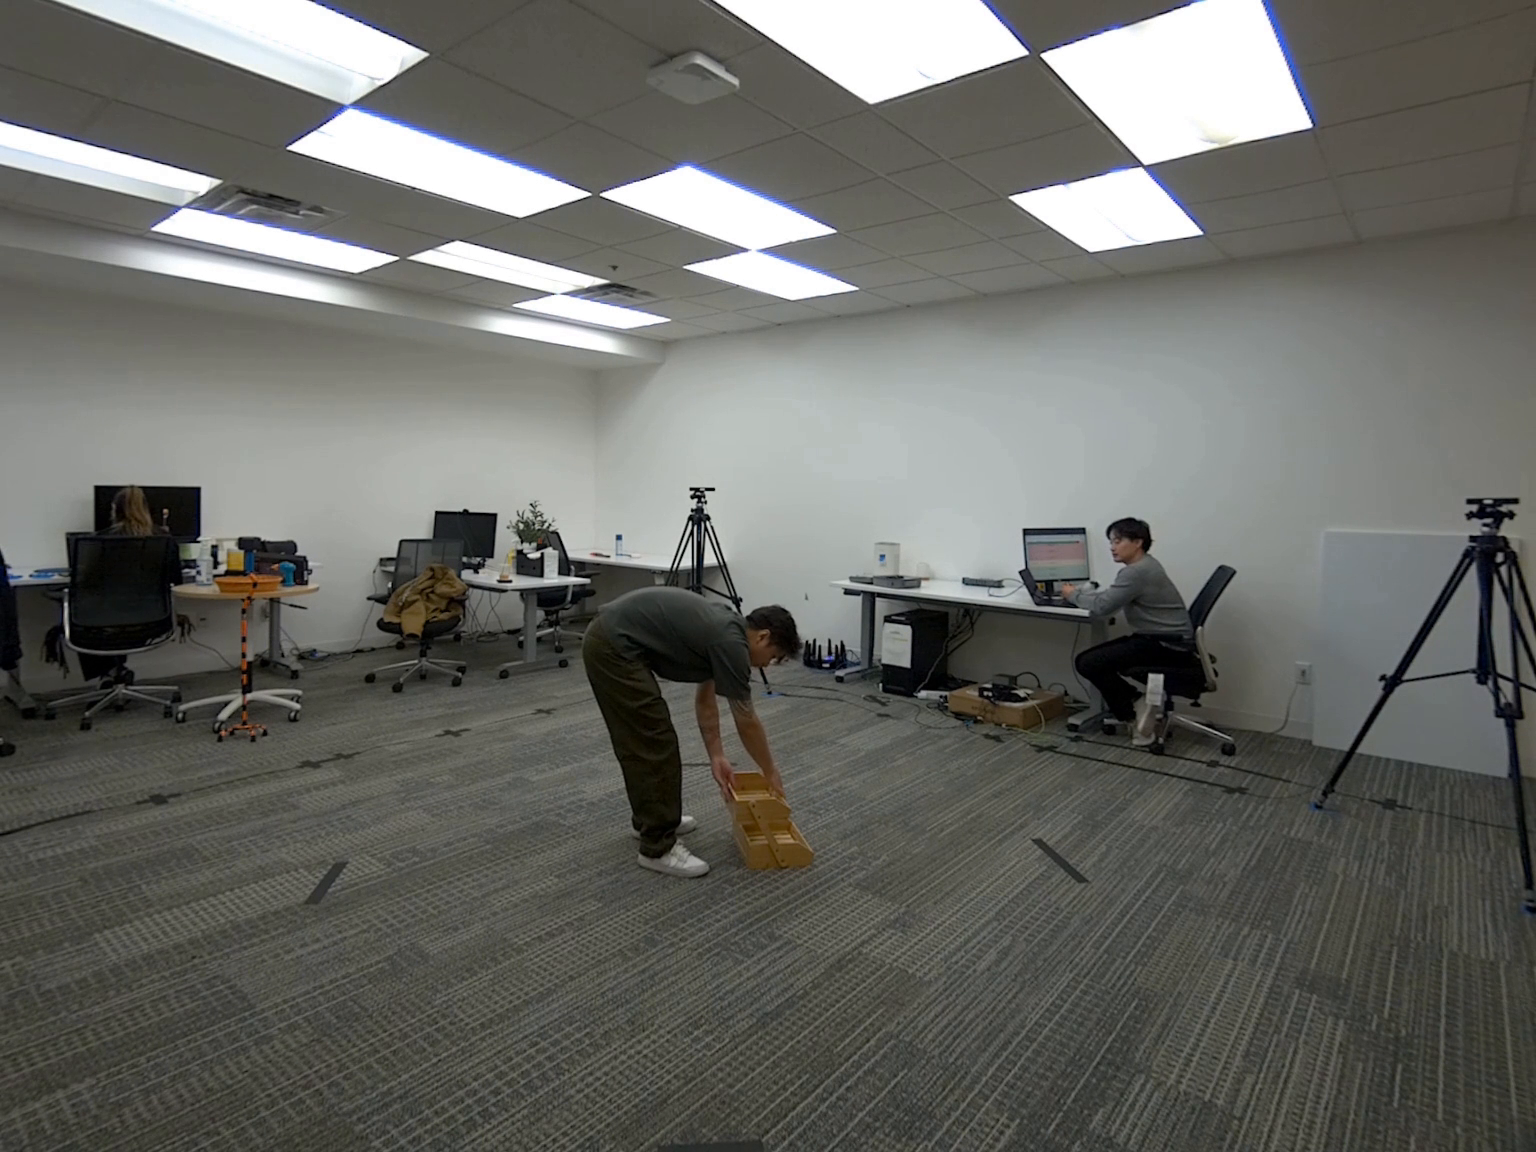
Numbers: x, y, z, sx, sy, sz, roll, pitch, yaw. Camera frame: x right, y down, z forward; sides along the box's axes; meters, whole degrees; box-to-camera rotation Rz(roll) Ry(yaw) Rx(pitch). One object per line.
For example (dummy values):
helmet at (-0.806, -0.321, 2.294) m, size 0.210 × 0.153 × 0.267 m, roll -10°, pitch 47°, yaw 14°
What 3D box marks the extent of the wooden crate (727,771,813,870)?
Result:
wooden crate at (-0.004, 0.925, 3.264) m, size 0.298 × 0.272 × 0.330 m, roll 0°, pitch 5°, yaw -13°
